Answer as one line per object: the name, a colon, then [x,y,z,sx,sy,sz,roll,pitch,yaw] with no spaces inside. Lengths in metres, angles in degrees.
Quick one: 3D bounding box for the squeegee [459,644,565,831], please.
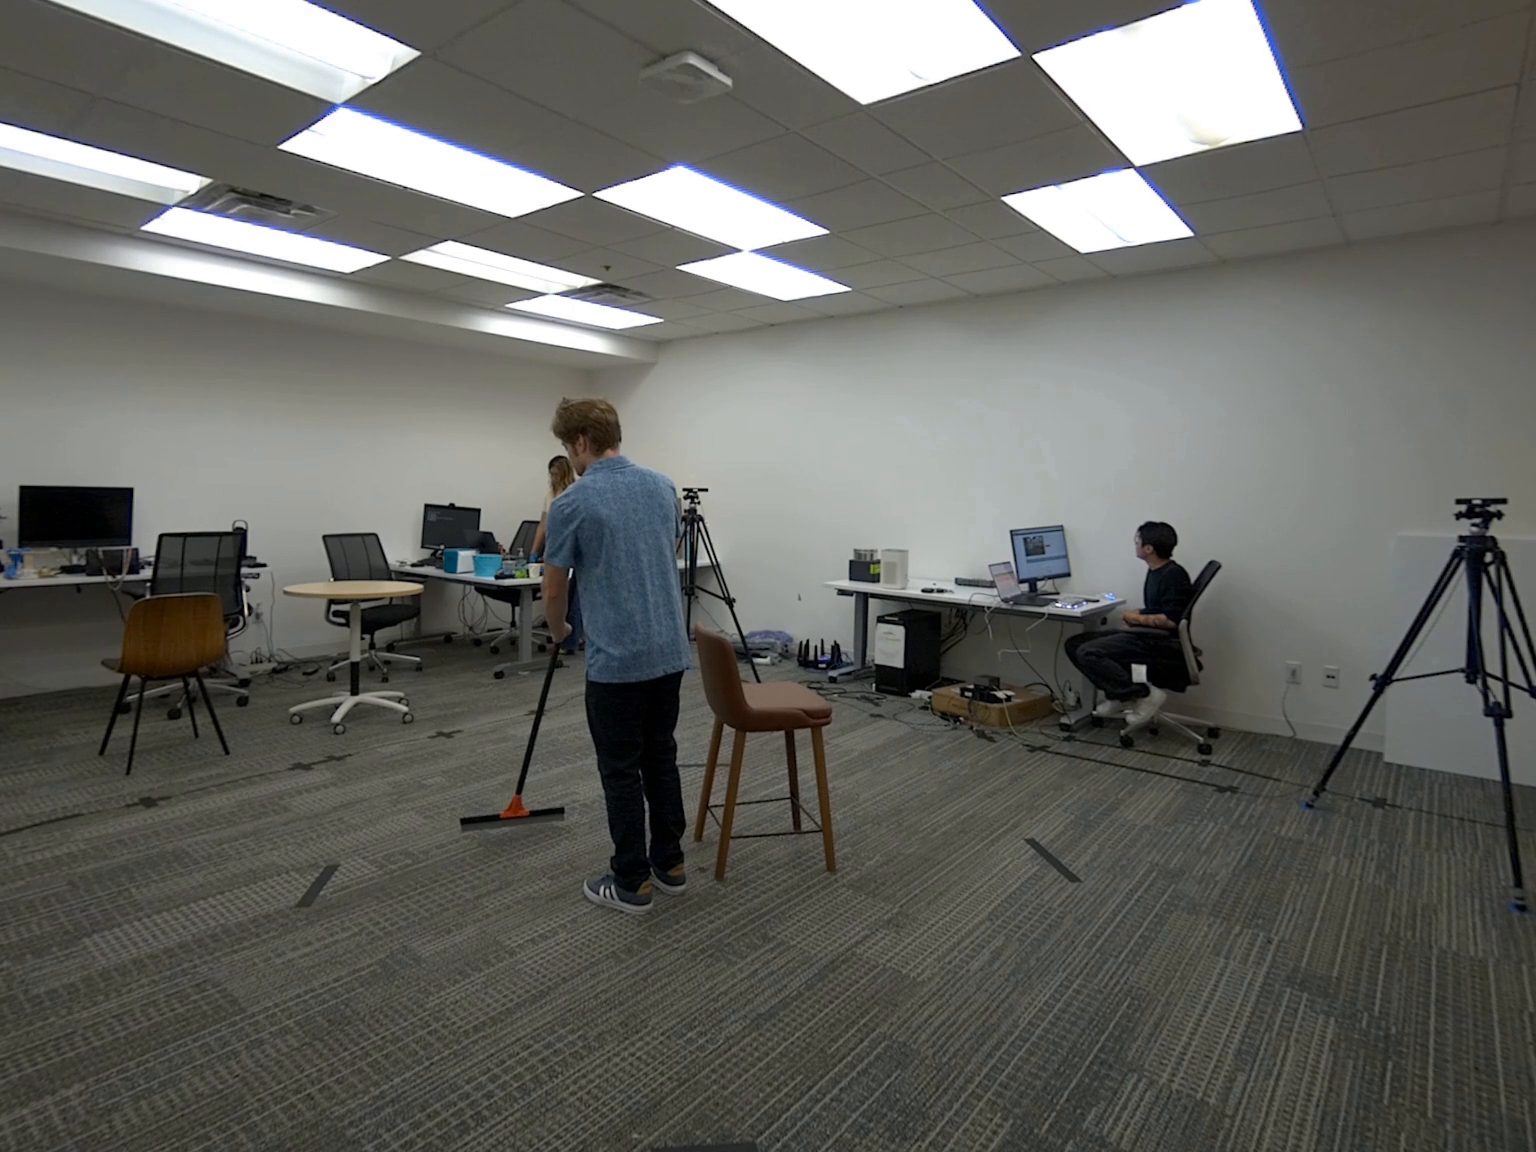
squeegee: [-0.830,0.265,3.196,0.423,1.525,0.055,5,16,-38]
